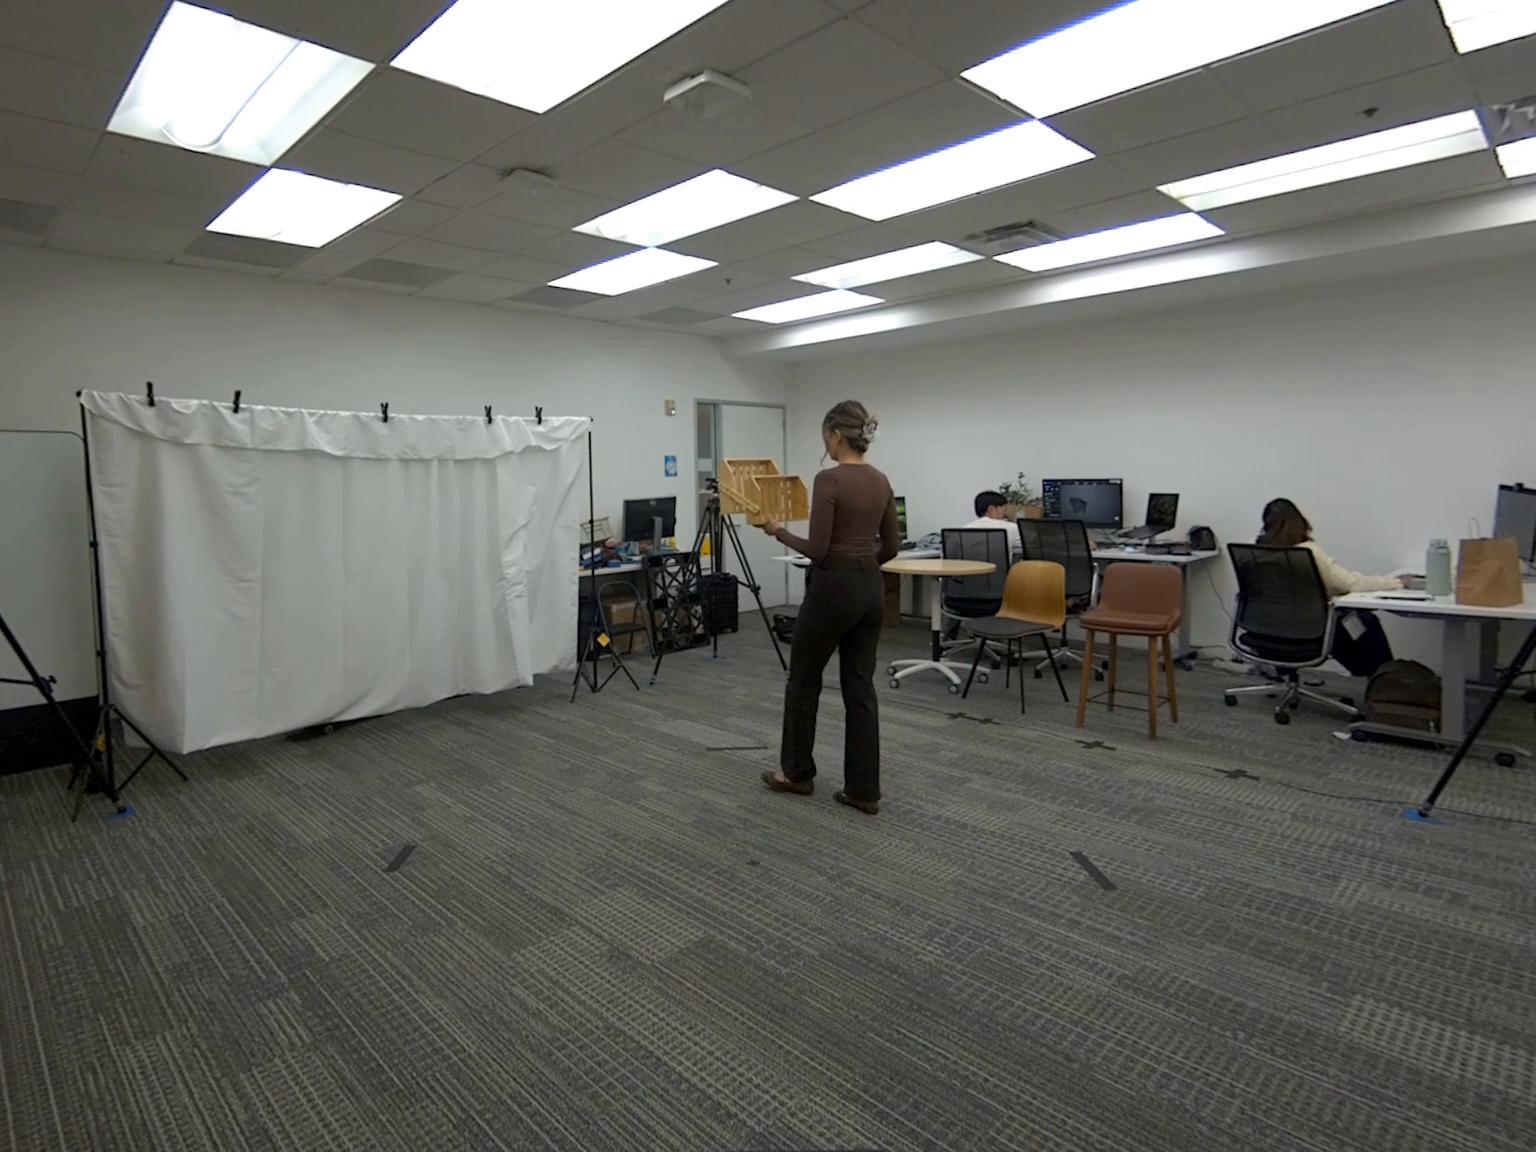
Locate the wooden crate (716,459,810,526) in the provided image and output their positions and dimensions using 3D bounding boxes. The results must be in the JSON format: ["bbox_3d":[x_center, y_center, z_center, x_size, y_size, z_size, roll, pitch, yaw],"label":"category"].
[{"bbox_3d":[-0.018,-0.390,3.851,0.316,0.301,0.281,-6,4,-42],"label":"wooden crate"}]
